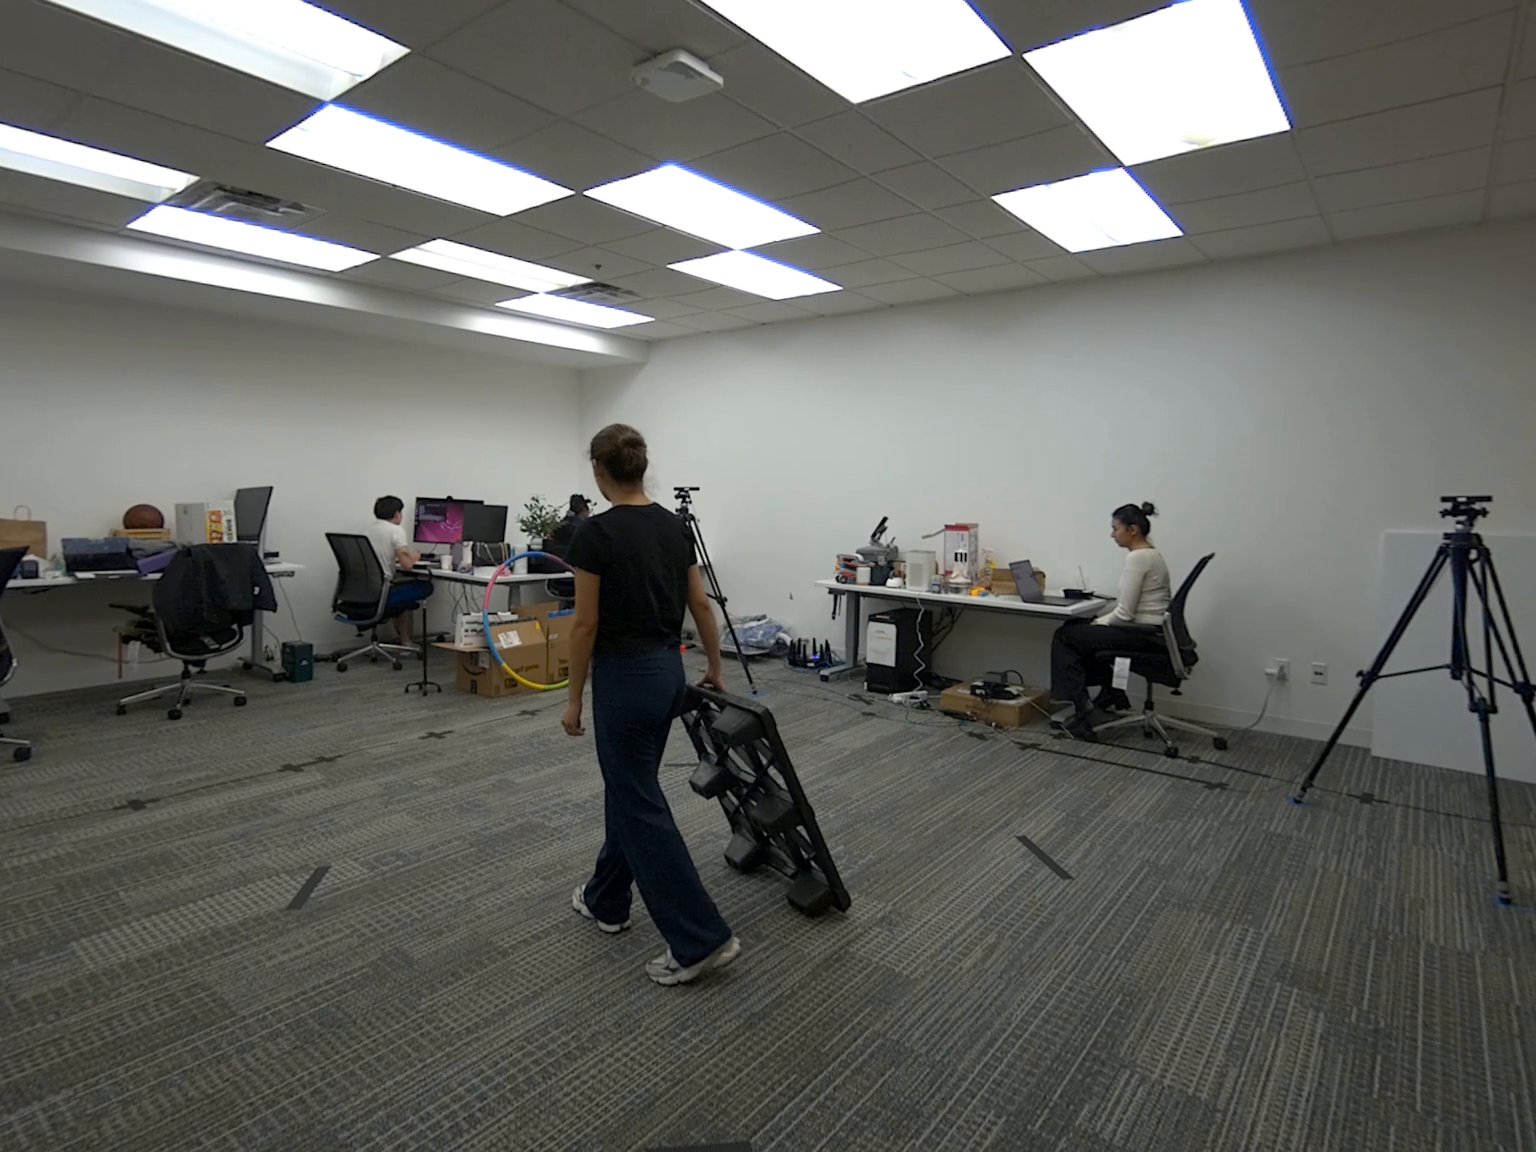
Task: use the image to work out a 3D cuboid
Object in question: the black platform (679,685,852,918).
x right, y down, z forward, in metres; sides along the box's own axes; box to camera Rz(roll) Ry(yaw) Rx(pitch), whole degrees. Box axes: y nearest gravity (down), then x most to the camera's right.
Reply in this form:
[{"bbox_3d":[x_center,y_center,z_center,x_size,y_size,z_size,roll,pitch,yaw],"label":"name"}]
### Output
[{"bbox_3d":[-0.078,0.729,2.888,0.142,0.788,0.625,-31,20,-29],"label":"black platform"}]
